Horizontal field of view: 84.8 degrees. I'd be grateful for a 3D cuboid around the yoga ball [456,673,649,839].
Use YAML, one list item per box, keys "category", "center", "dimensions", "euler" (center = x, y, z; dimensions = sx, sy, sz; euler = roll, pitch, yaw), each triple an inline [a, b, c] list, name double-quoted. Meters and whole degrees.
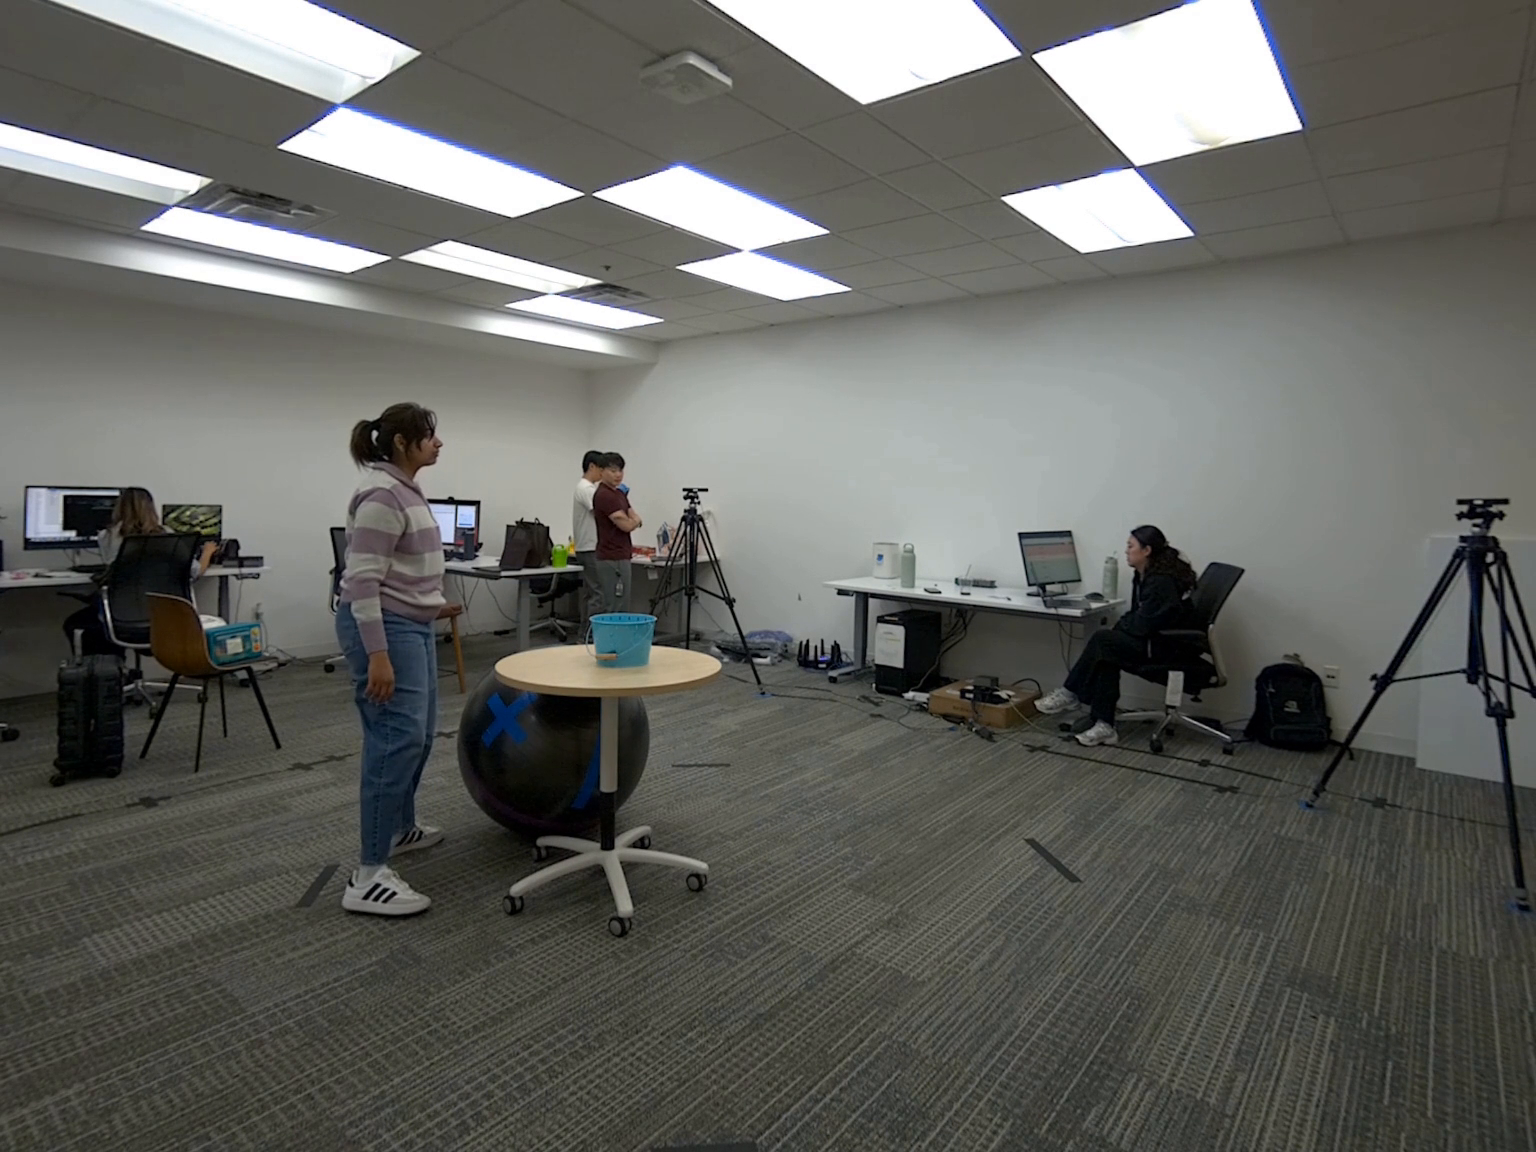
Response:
- category: "yoga ball"
  center: [-0.873, 0.659, 3.443]
  dimensions: [0.757, 0.755, 0.762]
  euler: [1, 4, -2]
